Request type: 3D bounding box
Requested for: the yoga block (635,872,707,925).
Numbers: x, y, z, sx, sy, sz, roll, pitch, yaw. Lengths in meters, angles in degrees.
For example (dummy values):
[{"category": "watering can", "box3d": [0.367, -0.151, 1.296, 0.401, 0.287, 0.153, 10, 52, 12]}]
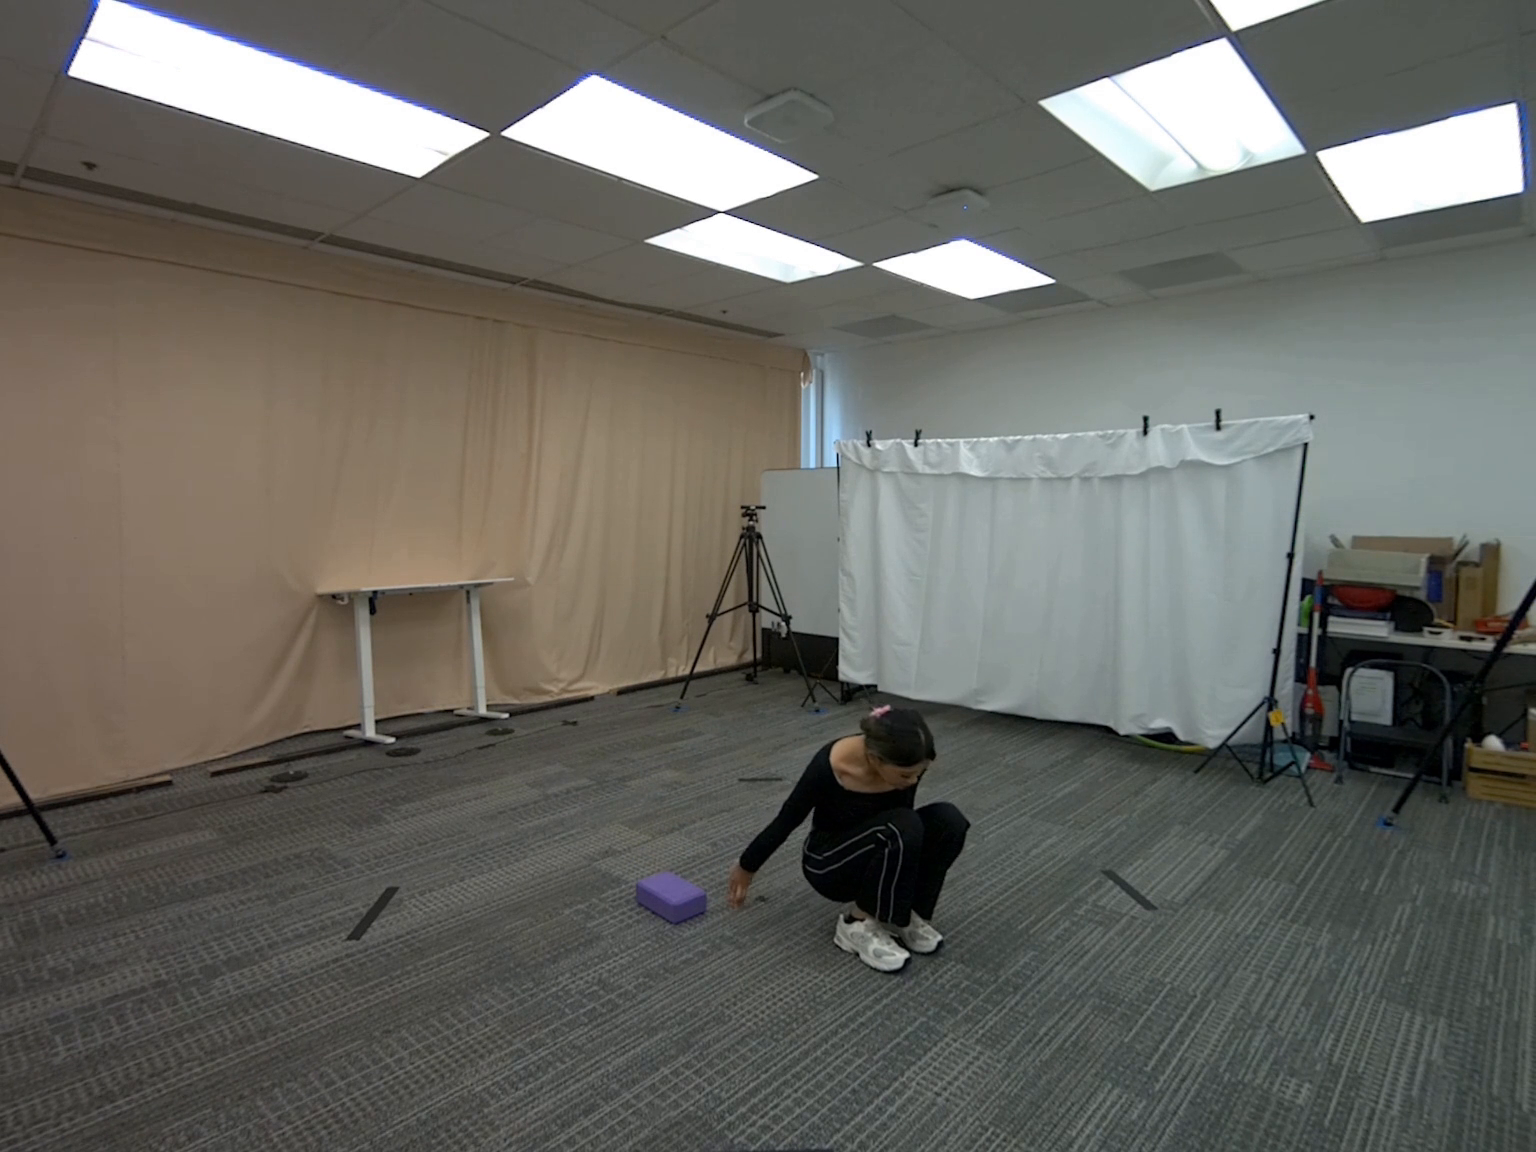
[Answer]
[{"category": "yoga block", "box3d": [-0.336, 1.114, 2.920, 0.144, 0.076, 0.237, -3, 5, -43]}]
